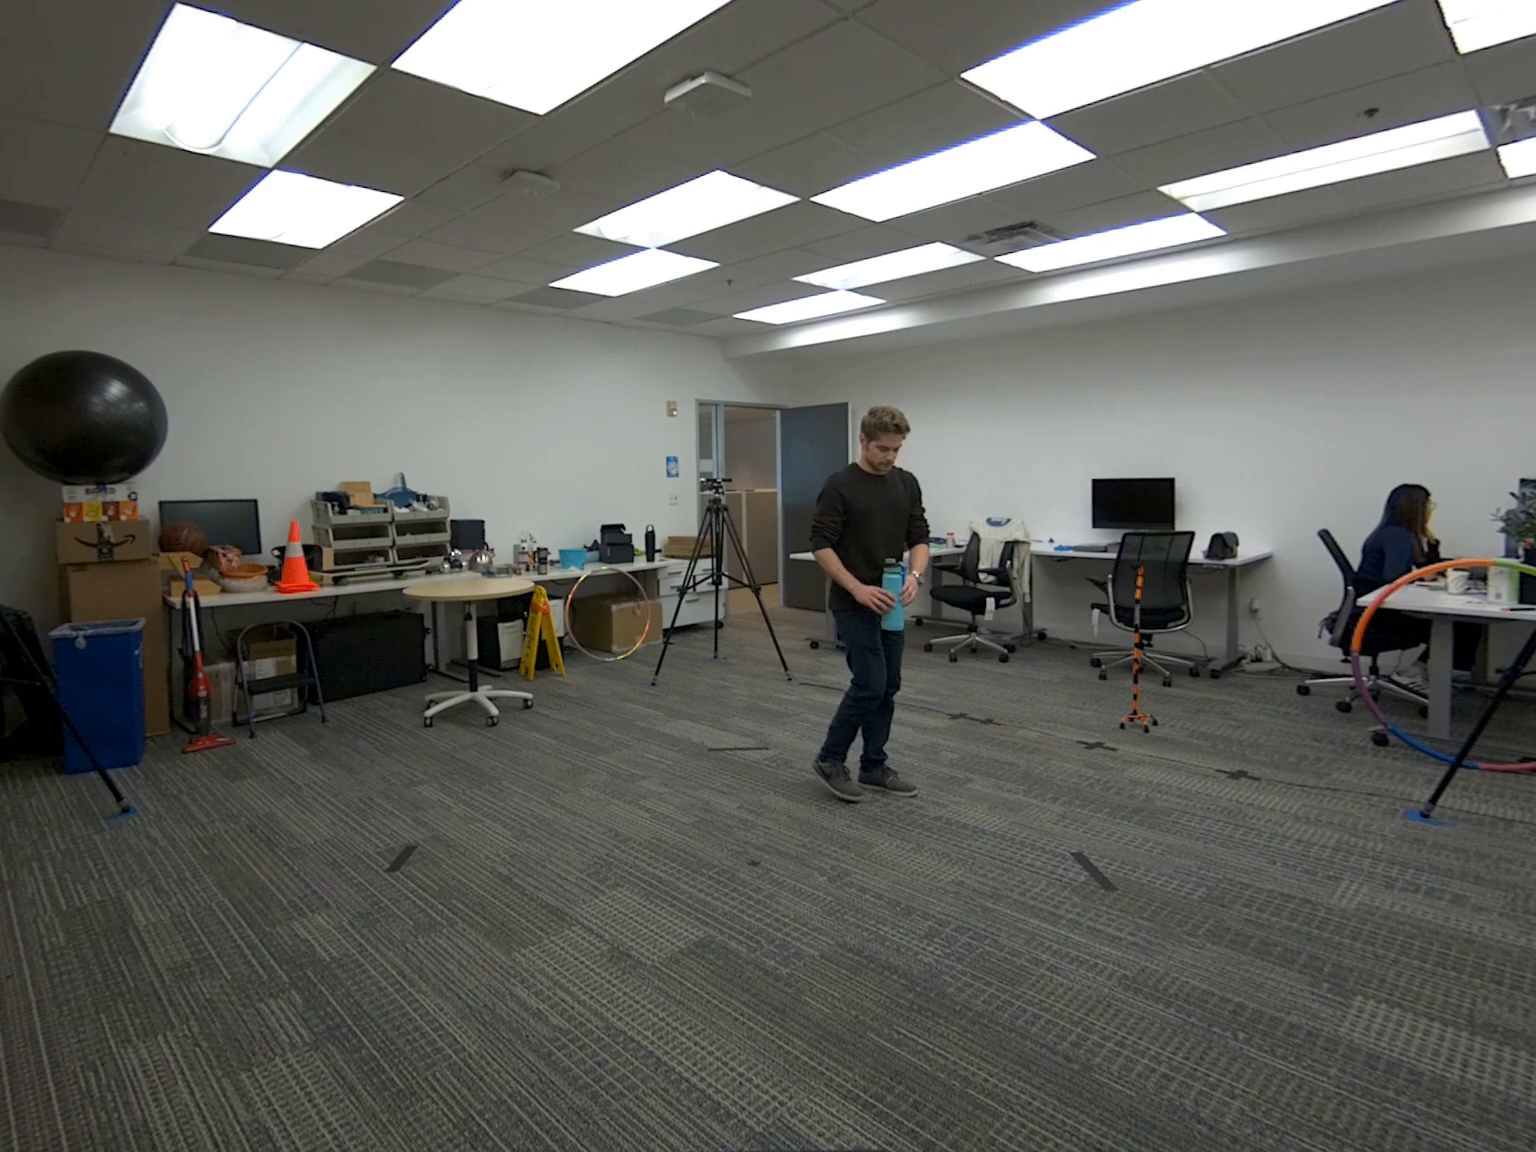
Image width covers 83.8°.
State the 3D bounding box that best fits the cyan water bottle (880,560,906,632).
[{"bbox_3d":[0.491,0.079,3.476,0.092,0.283,0.092,5,1,-2],"label":"cyan water bottle"}]
